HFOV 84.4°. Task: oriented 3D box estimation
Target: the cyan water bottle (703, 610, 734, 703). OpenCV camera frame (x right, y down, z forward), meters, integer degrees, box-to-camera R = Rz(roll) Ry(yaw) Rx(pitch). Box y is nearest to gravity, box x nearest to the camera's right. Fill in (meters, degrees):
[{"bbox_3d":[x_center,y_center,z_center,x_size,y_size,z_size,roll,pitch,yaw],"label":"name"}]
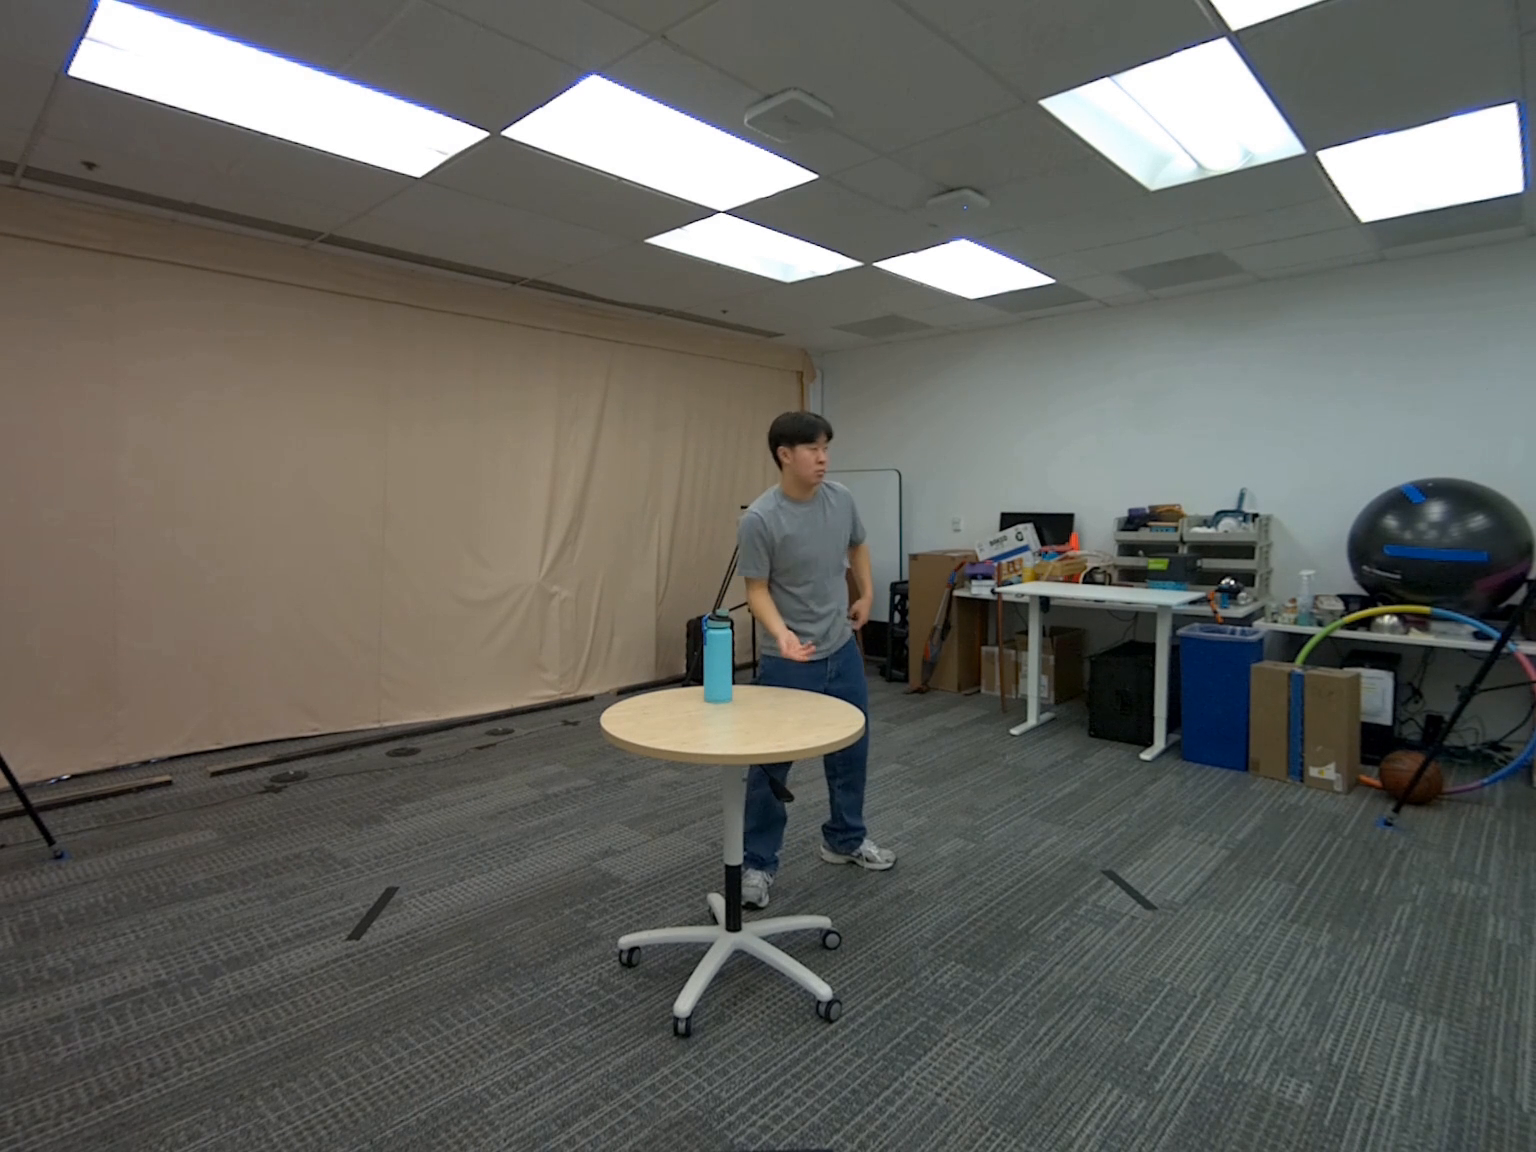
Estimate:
[{"bbox_3d":[-0.156,0.252,2.621,0.092,0.283,0.092,-1,2,-2],"label":"cyan water bottle"}]
